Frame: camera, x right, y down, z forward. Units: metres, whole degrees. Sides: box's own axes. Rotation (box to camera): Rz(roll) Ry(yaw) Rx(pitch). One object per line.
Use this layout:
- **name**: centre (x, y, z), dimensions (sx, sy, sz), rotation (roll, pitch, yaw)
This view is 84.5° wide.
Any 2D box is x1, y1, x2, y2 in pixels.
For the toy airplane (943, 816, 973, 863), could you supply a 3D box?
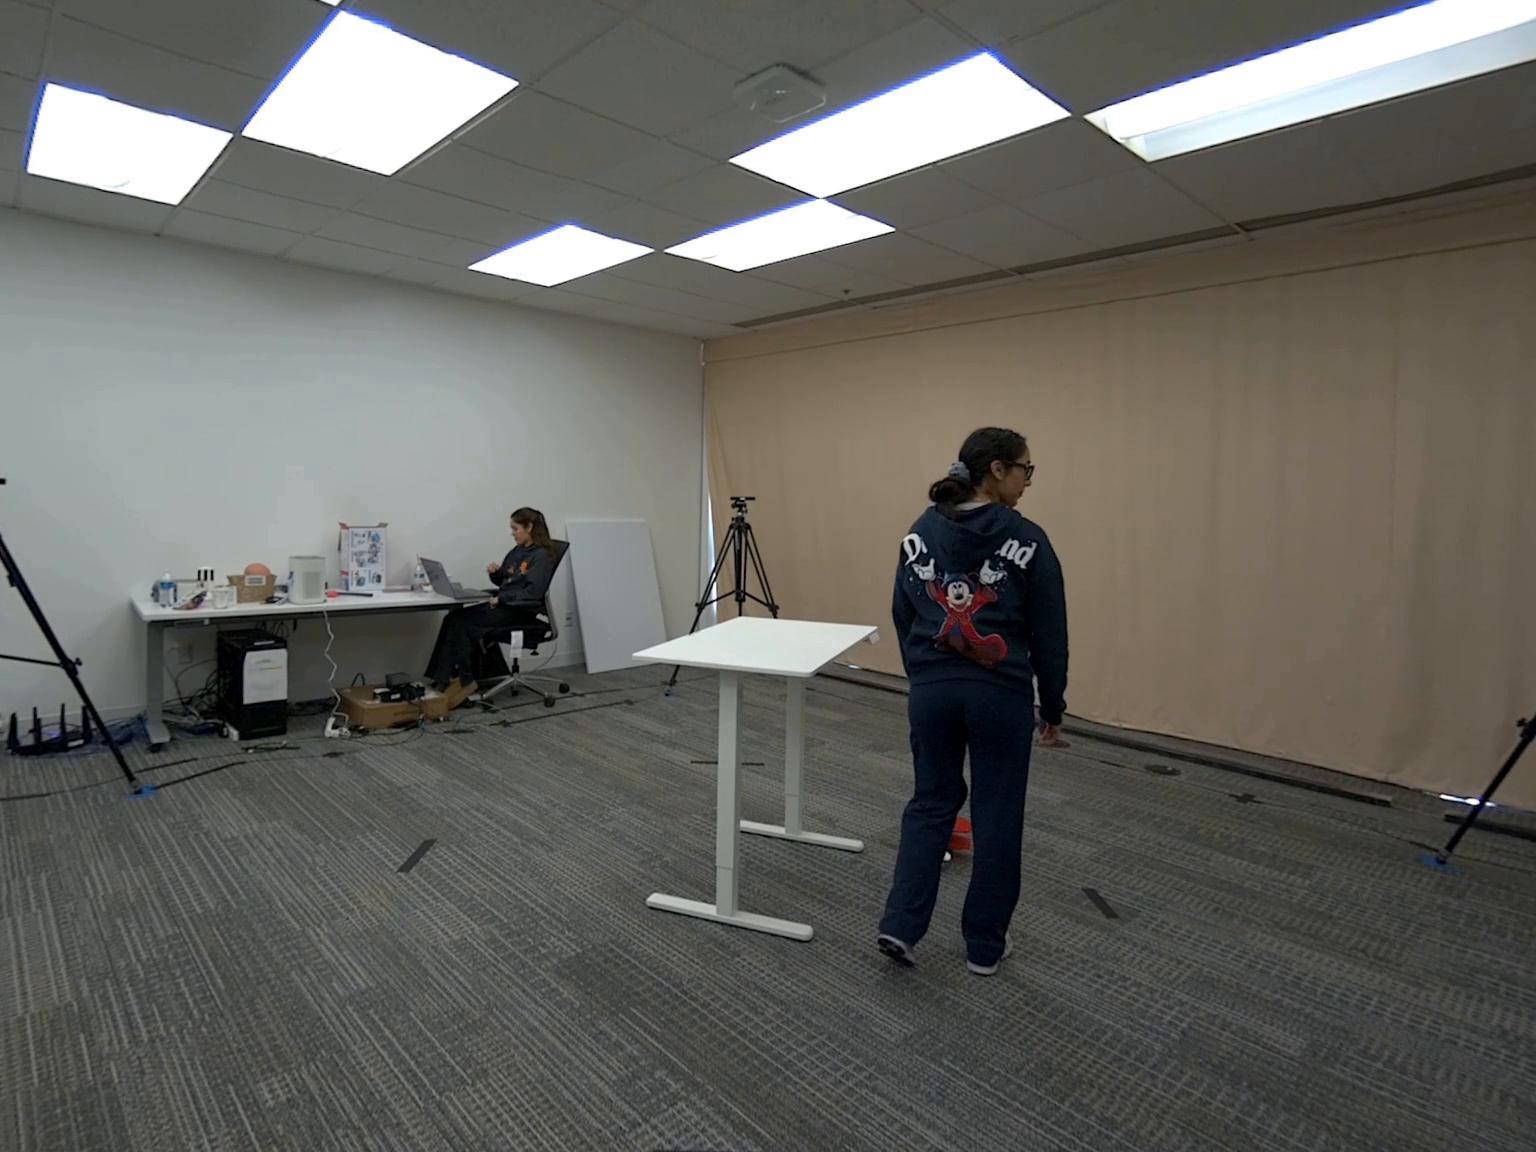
- **toy airplane**: centre (0.676, 1.037, 3.317), dimensions (0.248, 0.156, 0.262), rotation (2, 2, -13)
